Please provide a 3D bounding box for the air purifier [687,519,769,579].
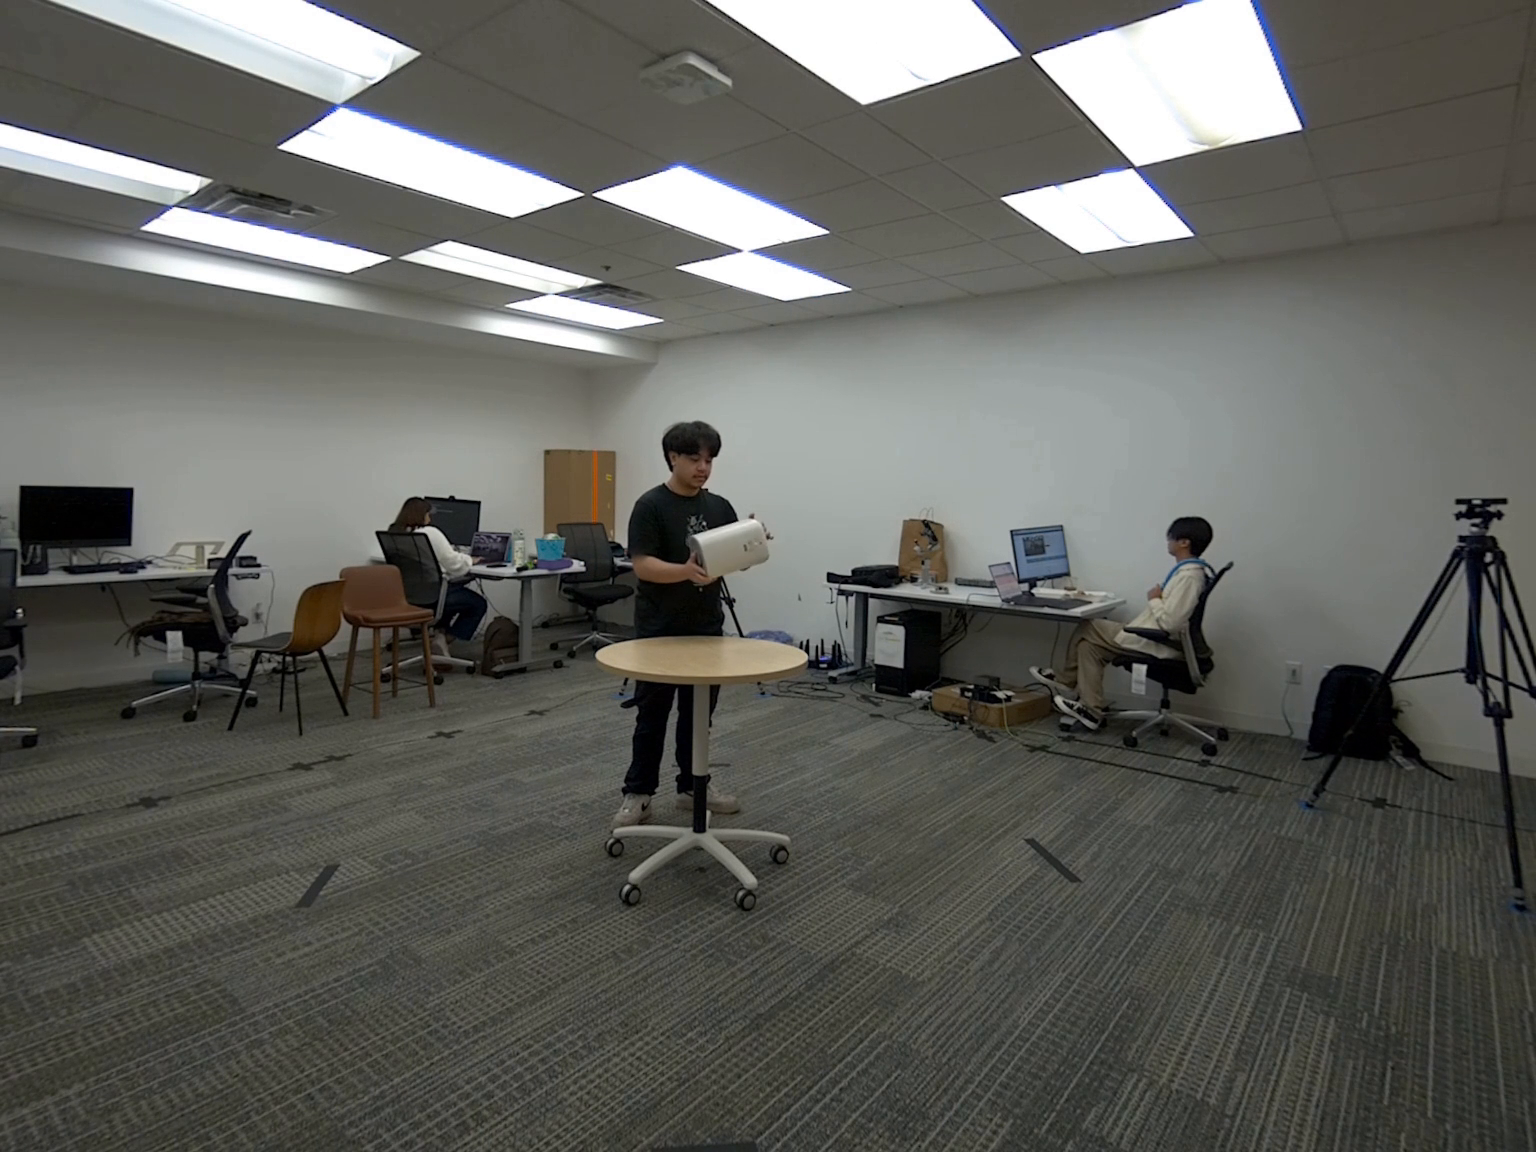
[{"bbox_3d":[-0.153,-0.114,3.252,0.262,0.169,0.176,-18,11,-16],"label":"air purifier"}]
